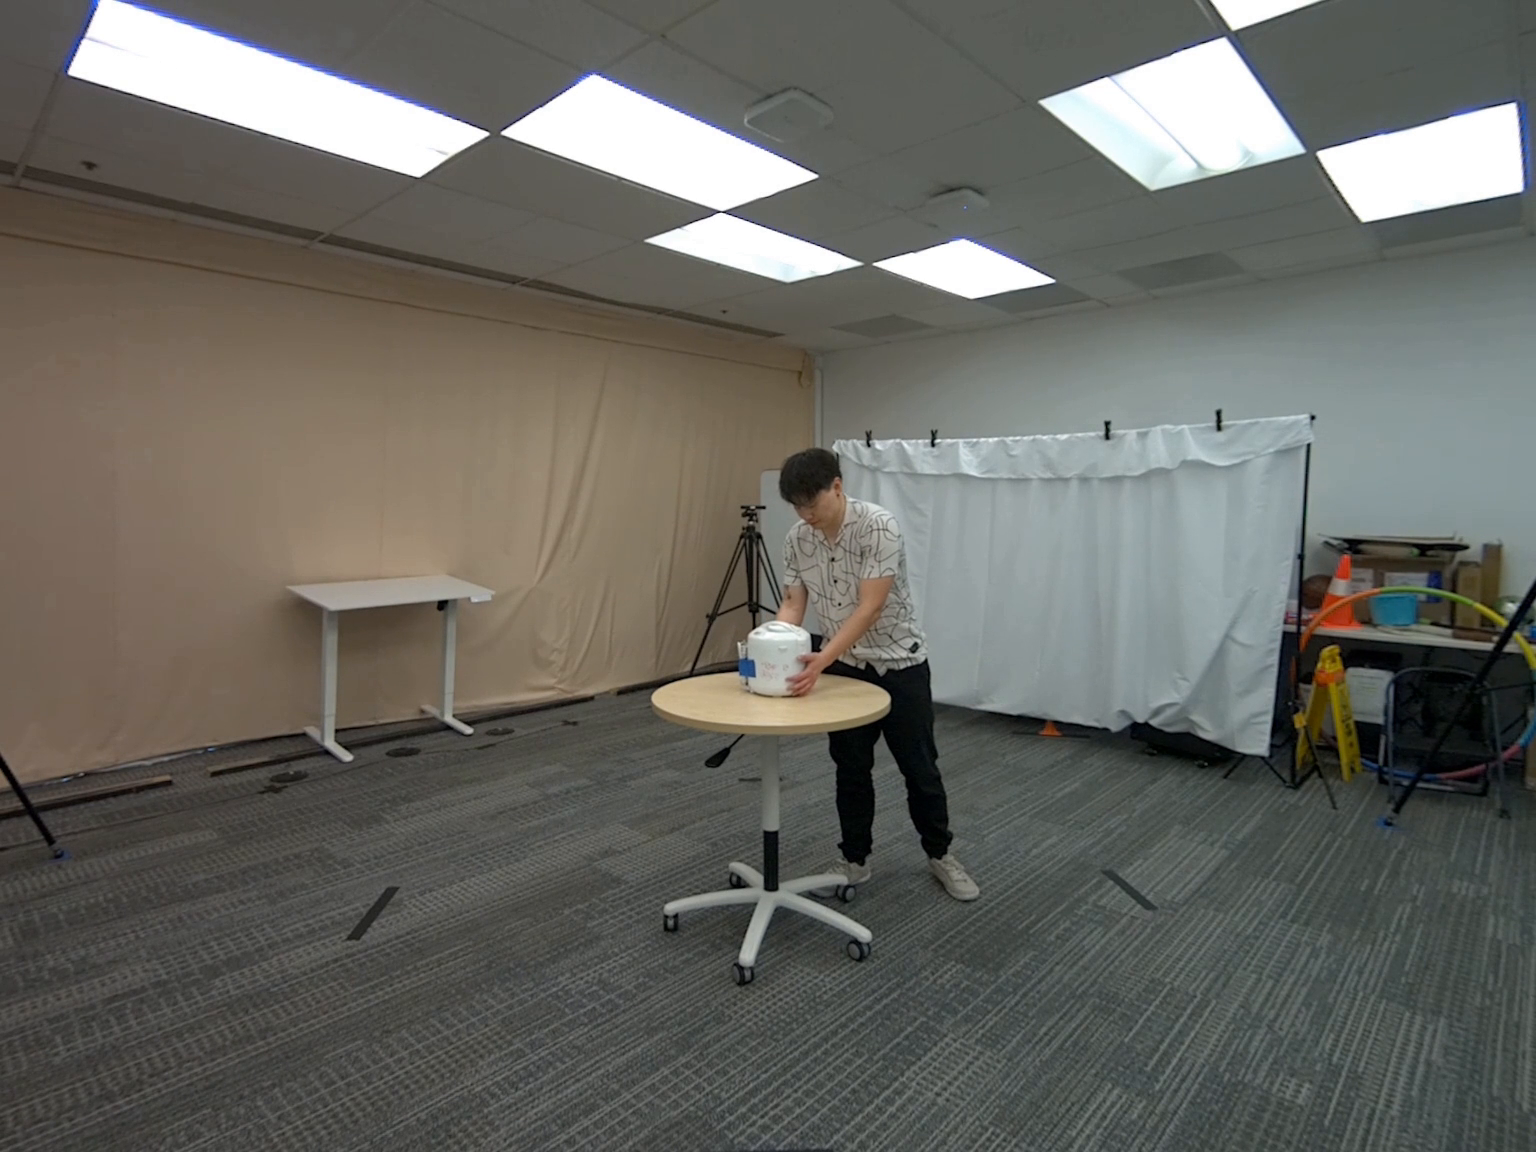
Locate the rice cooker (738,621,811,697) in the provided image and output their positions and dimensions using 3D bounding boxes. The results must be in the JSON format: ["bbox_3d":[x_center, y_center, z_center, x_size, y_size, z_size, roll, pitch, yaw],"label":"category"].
[{"bbox_3d":[0.034,0.265,2.756,0.211,0.232,0.228,-4,5,-44],"label":"rice cooker"}]
